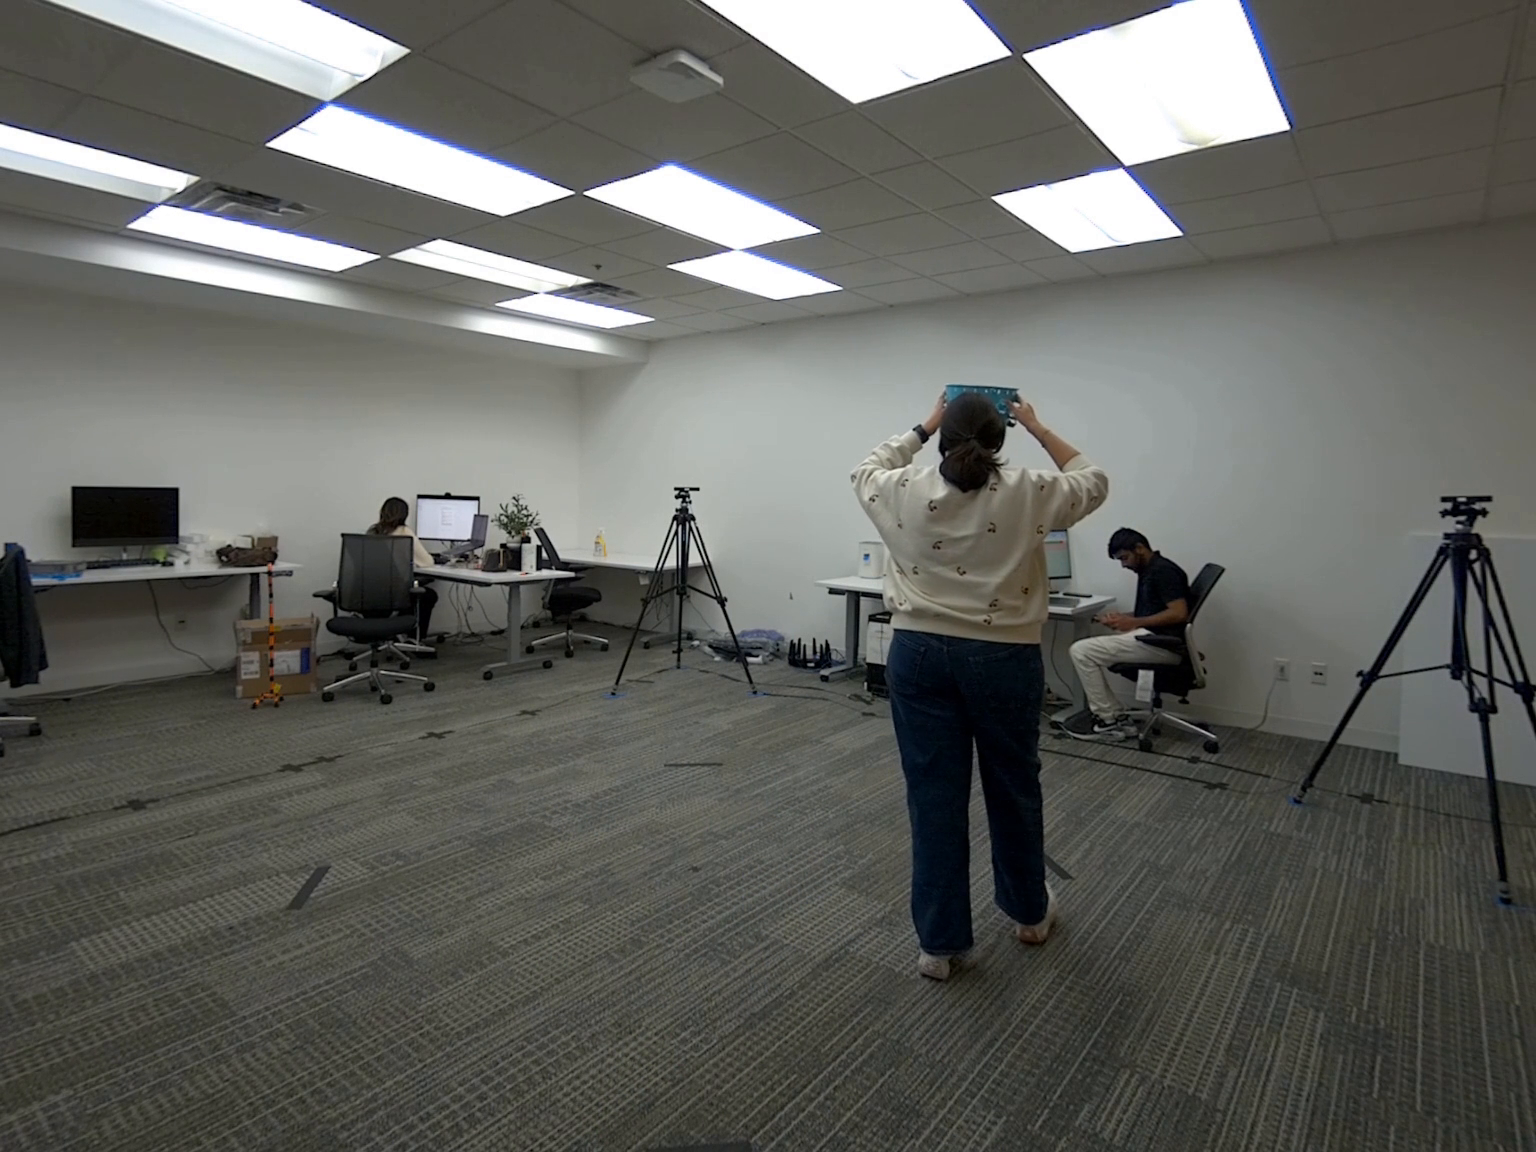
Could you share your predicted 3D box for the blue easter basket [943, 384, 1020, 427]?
[{"bbox_3d":[0.690,-0.546,2.751,0.243,0.154,0.246,3,11,-2],"label":"blue easter basket"}]
